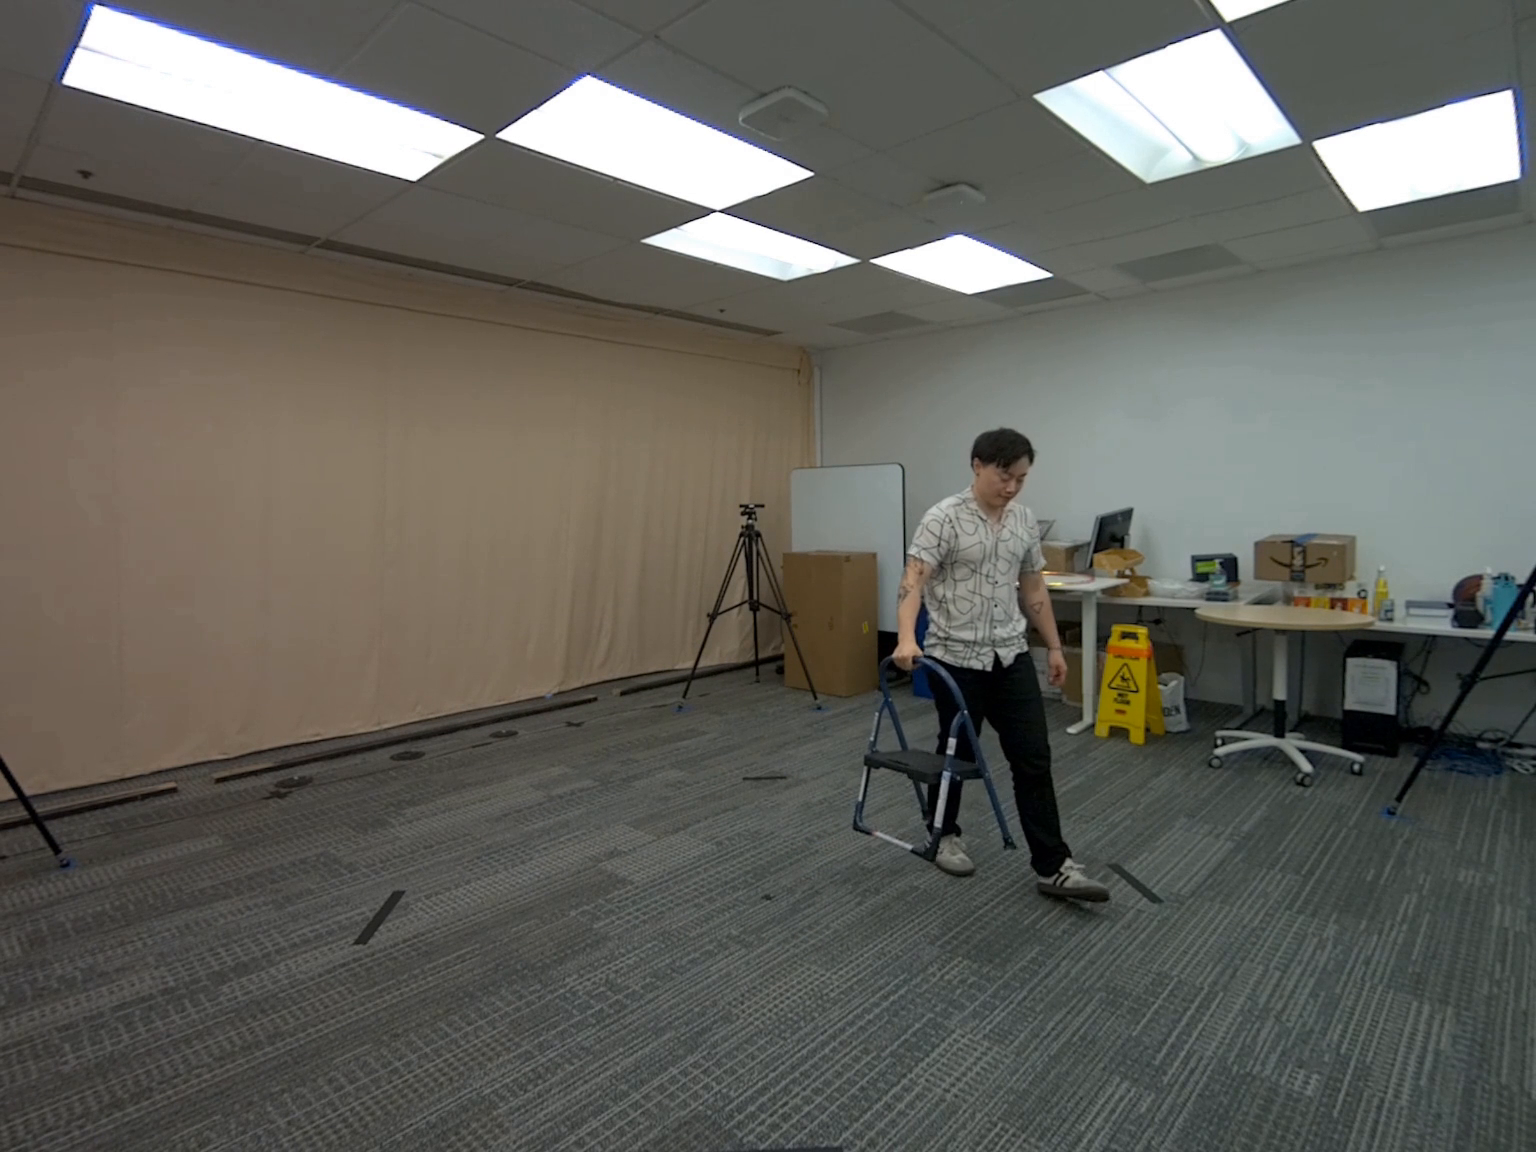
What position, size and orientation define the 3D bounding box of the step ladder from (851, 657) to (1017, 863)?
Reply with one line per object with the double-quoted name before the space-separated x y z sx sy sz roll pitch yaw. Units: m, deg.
"step ladder" 0.539 0.573 2.821 0.340 0.607 0.441 2 -4 -28
